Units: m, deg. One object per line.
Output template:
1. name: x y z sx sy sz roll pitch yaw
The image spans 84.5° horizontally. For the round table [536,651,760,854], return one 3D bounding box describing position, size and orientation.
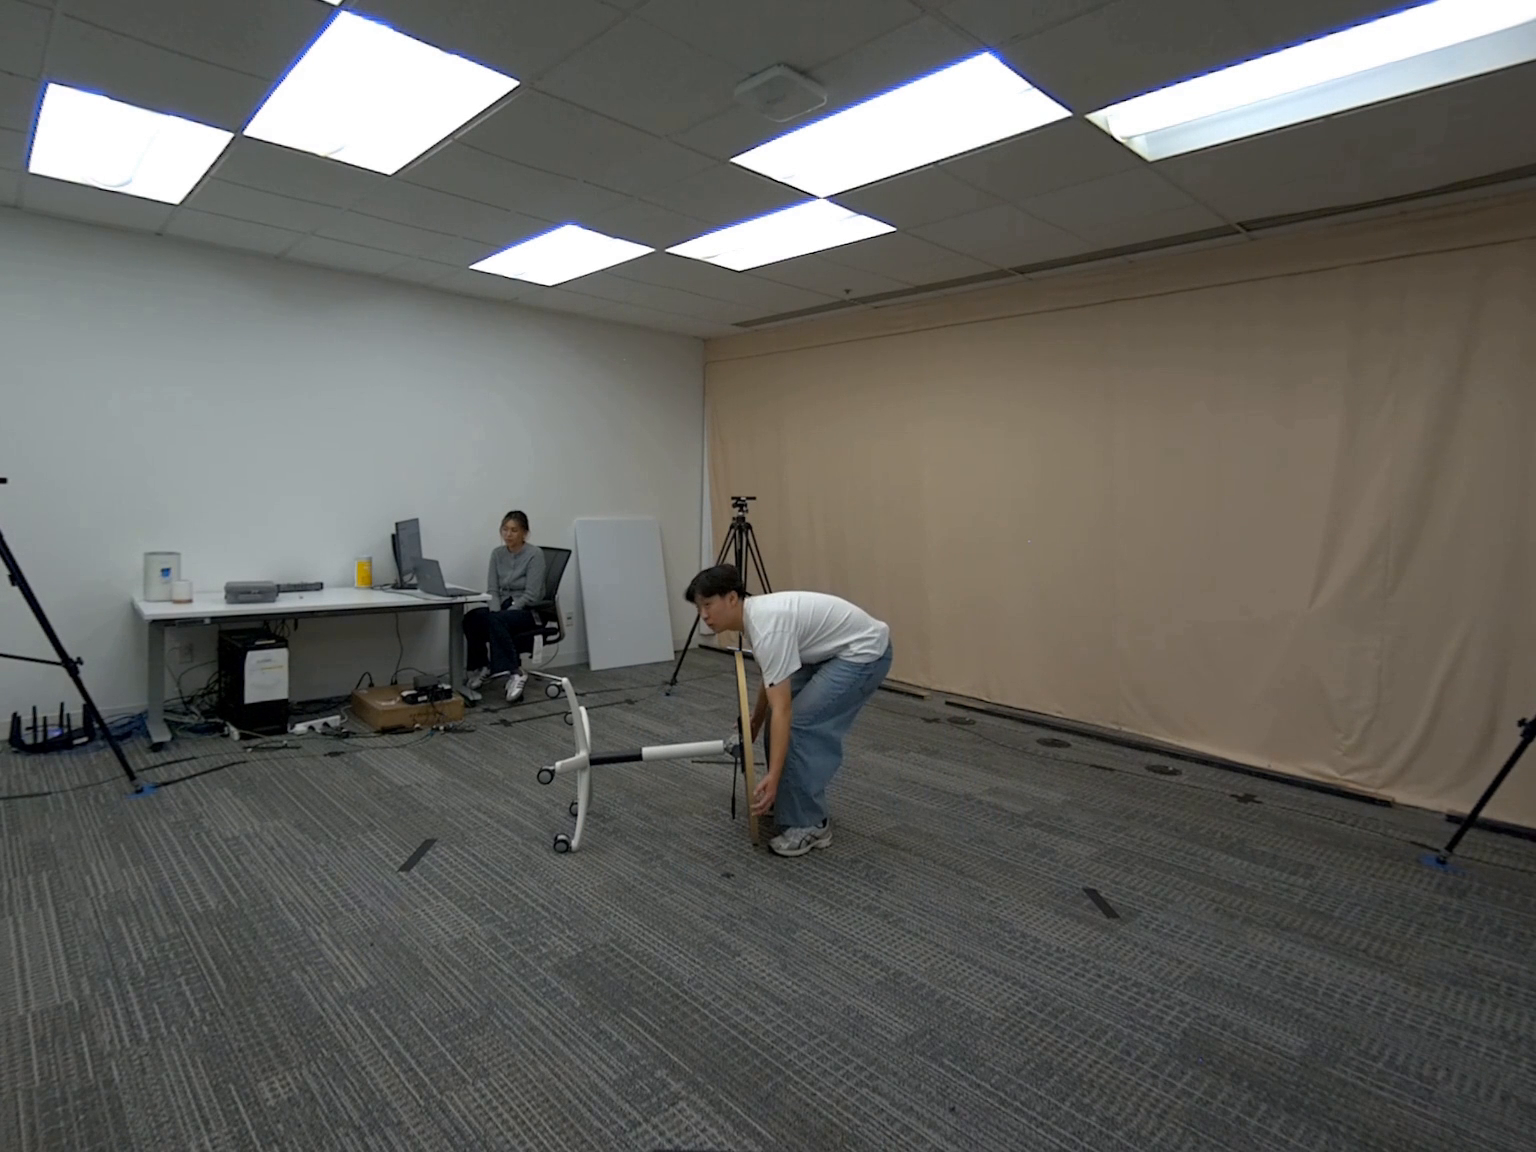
1. round table: -0.476 0.719 3.439 0.785 0.782 0.789 -5 5 -4
